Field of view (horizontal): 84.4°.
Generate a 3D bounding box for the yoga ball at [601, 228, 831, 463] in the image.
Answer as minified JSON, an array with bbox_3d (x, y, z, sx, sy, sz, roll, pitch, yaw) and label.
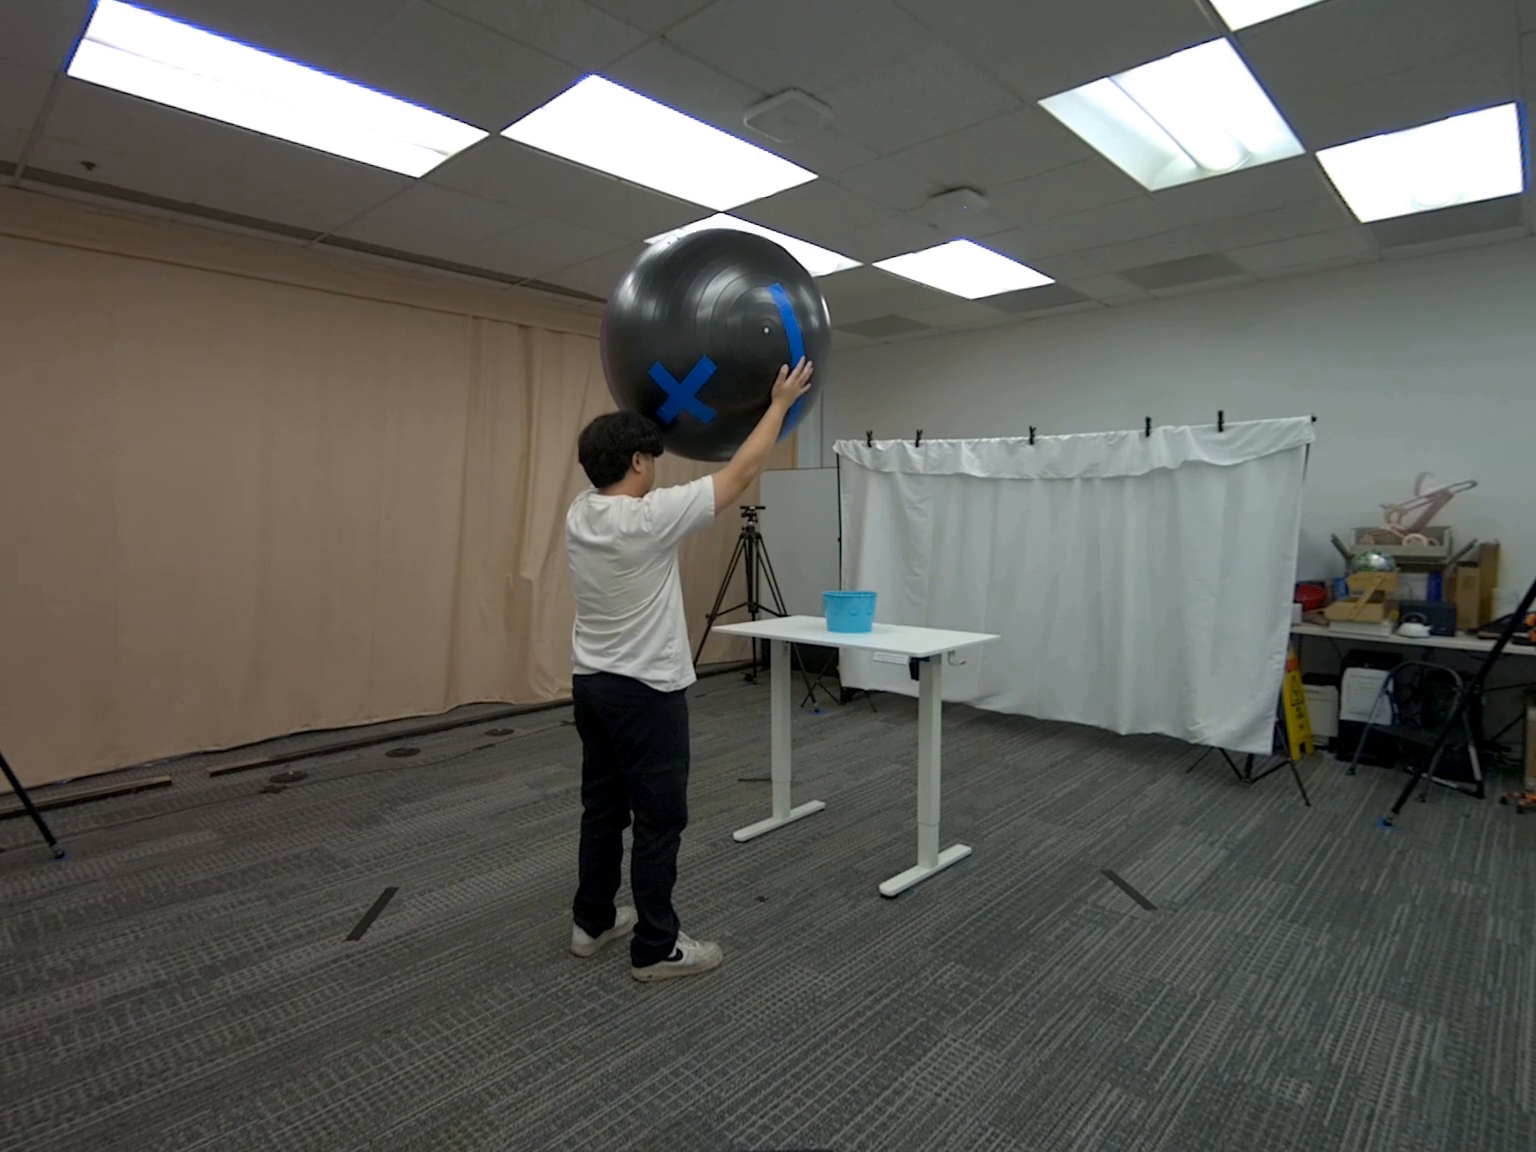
[{"bbox_3d":[-0.165,-0.752,2.782,0.757,0.756,0.760,0,4,-2],"label":"yoga ball"}]
